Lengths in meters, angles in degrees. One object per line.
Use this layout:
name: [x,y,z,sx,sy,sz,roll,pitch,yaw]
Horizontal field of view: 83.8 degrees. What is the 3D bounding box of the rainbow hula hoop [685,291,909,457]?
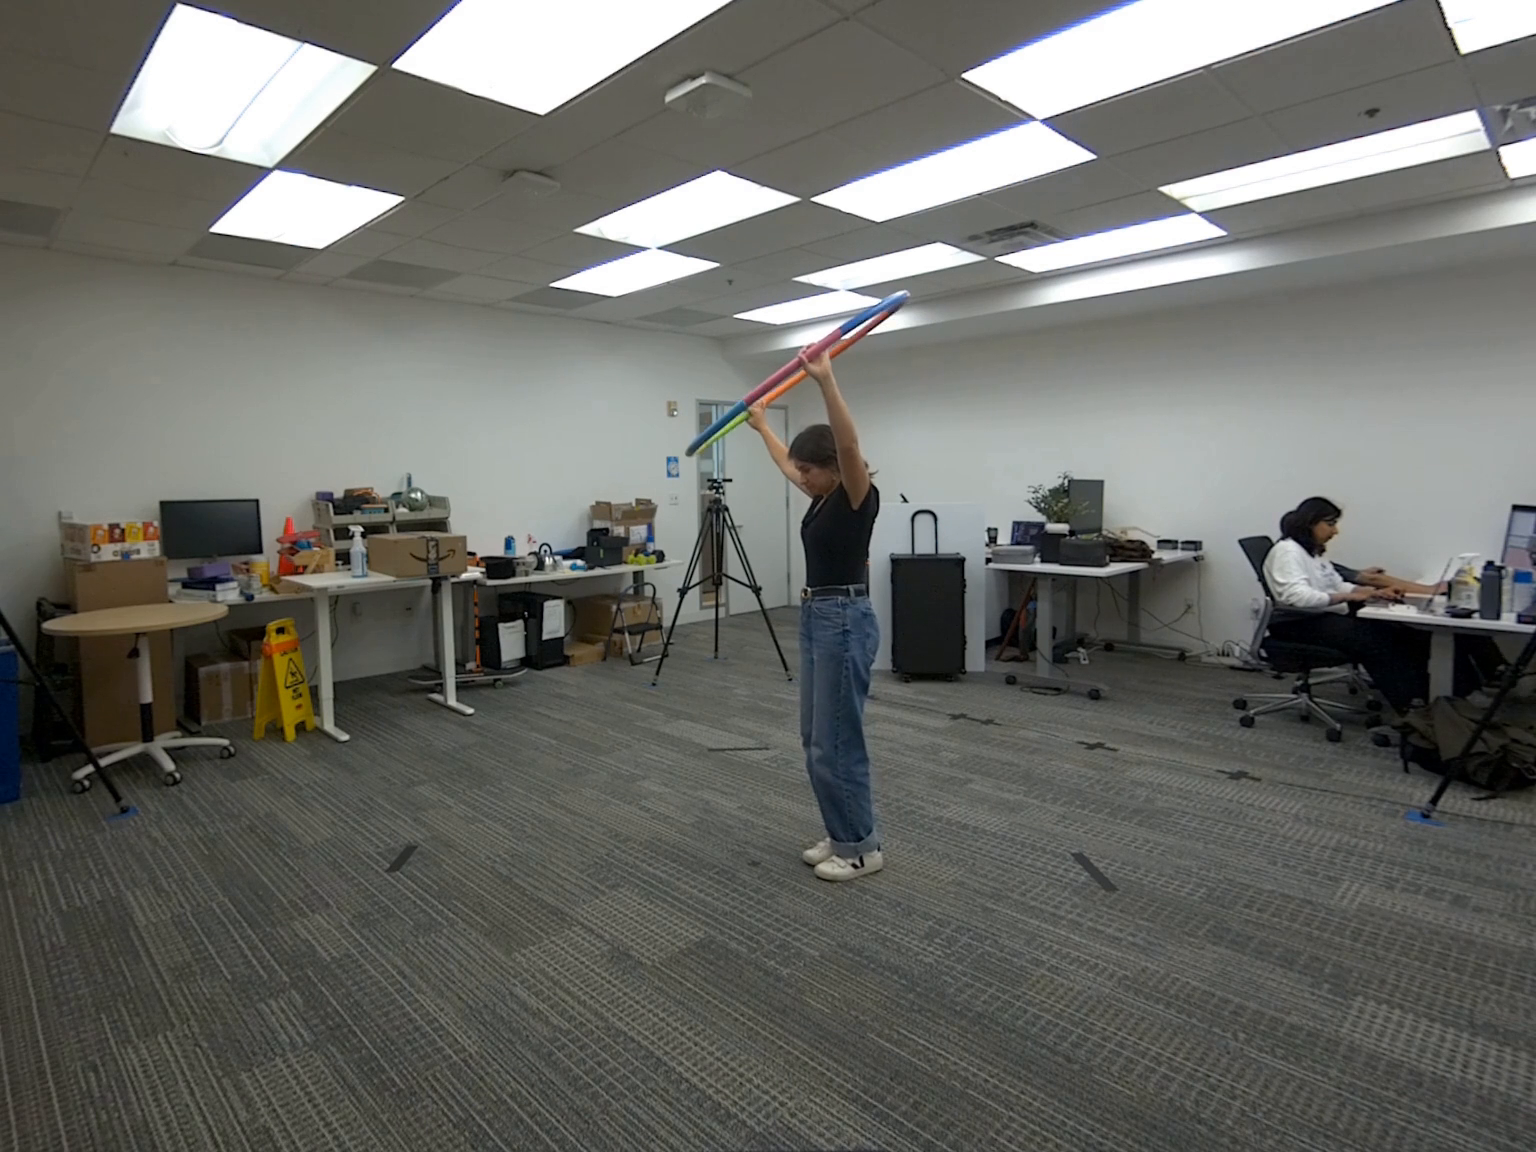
rainbow hula hoop: [0.090,-0.713,3.089,0.979,0.035,0.985,-35,7,2]
